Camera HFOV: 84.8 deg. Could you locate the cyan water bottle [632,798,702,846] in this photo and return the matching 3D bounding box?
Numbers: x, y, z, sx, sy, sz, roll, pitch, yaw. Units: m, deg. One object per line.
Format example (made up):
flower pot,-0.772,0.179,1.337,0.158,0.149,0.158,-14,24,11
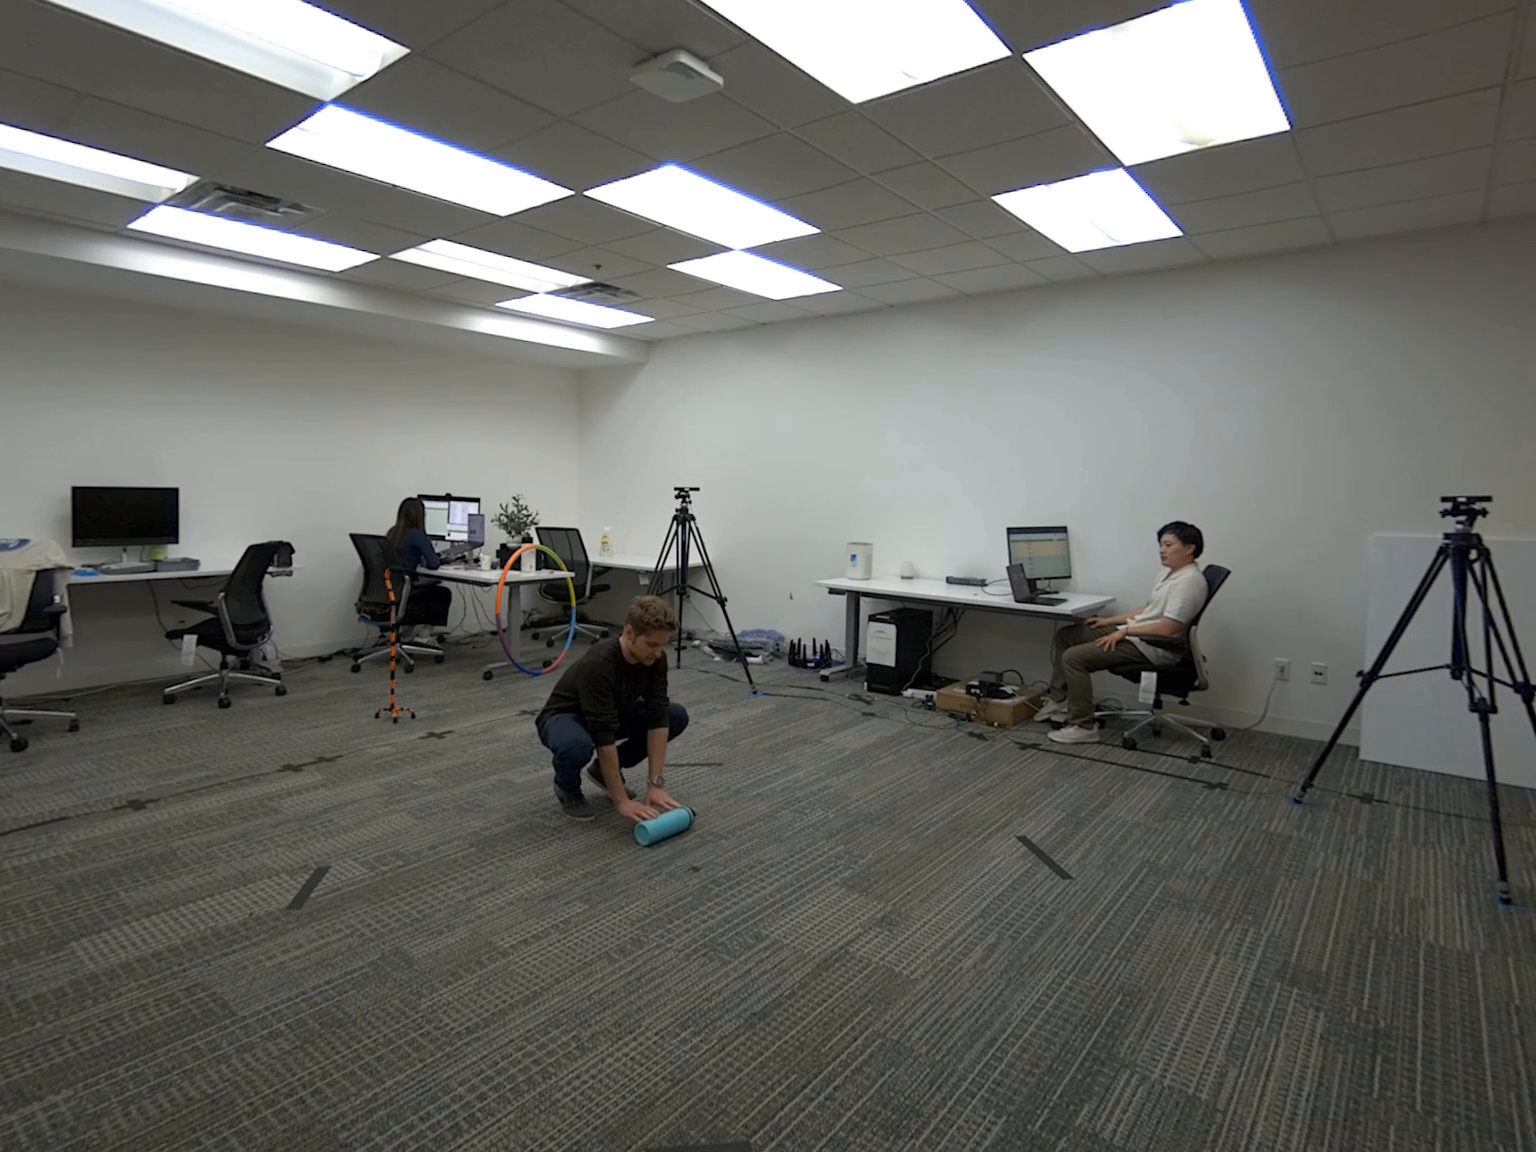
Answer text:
cyan water bottle,-0.407,0.985,3.386,0.095,0.092,0.275,5,6,44
